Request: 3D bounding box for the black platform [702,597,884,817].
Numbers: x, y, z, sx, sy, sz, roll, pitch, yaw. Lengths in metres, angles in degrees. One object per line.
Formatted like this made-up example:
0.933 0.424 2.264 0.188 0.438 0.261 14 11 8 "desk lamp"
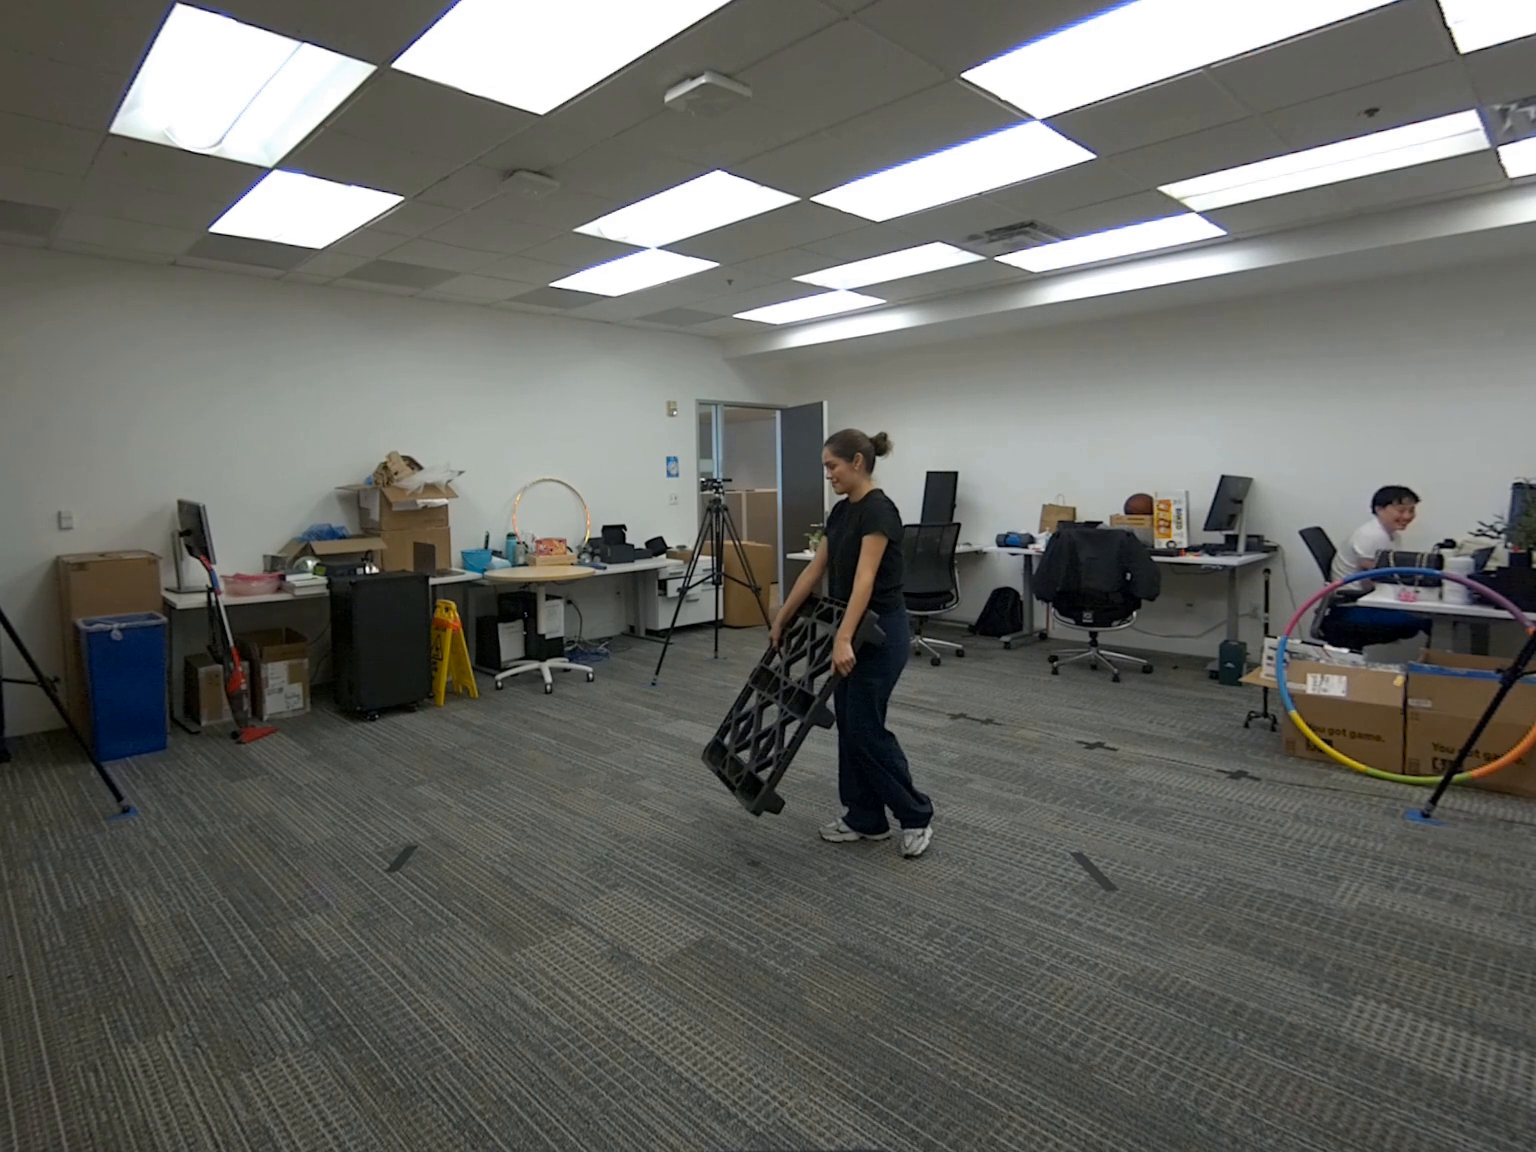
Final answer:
0.095 0.455 3.203 0.140 0.807 0.619 33 -6 -21 "black platform"
